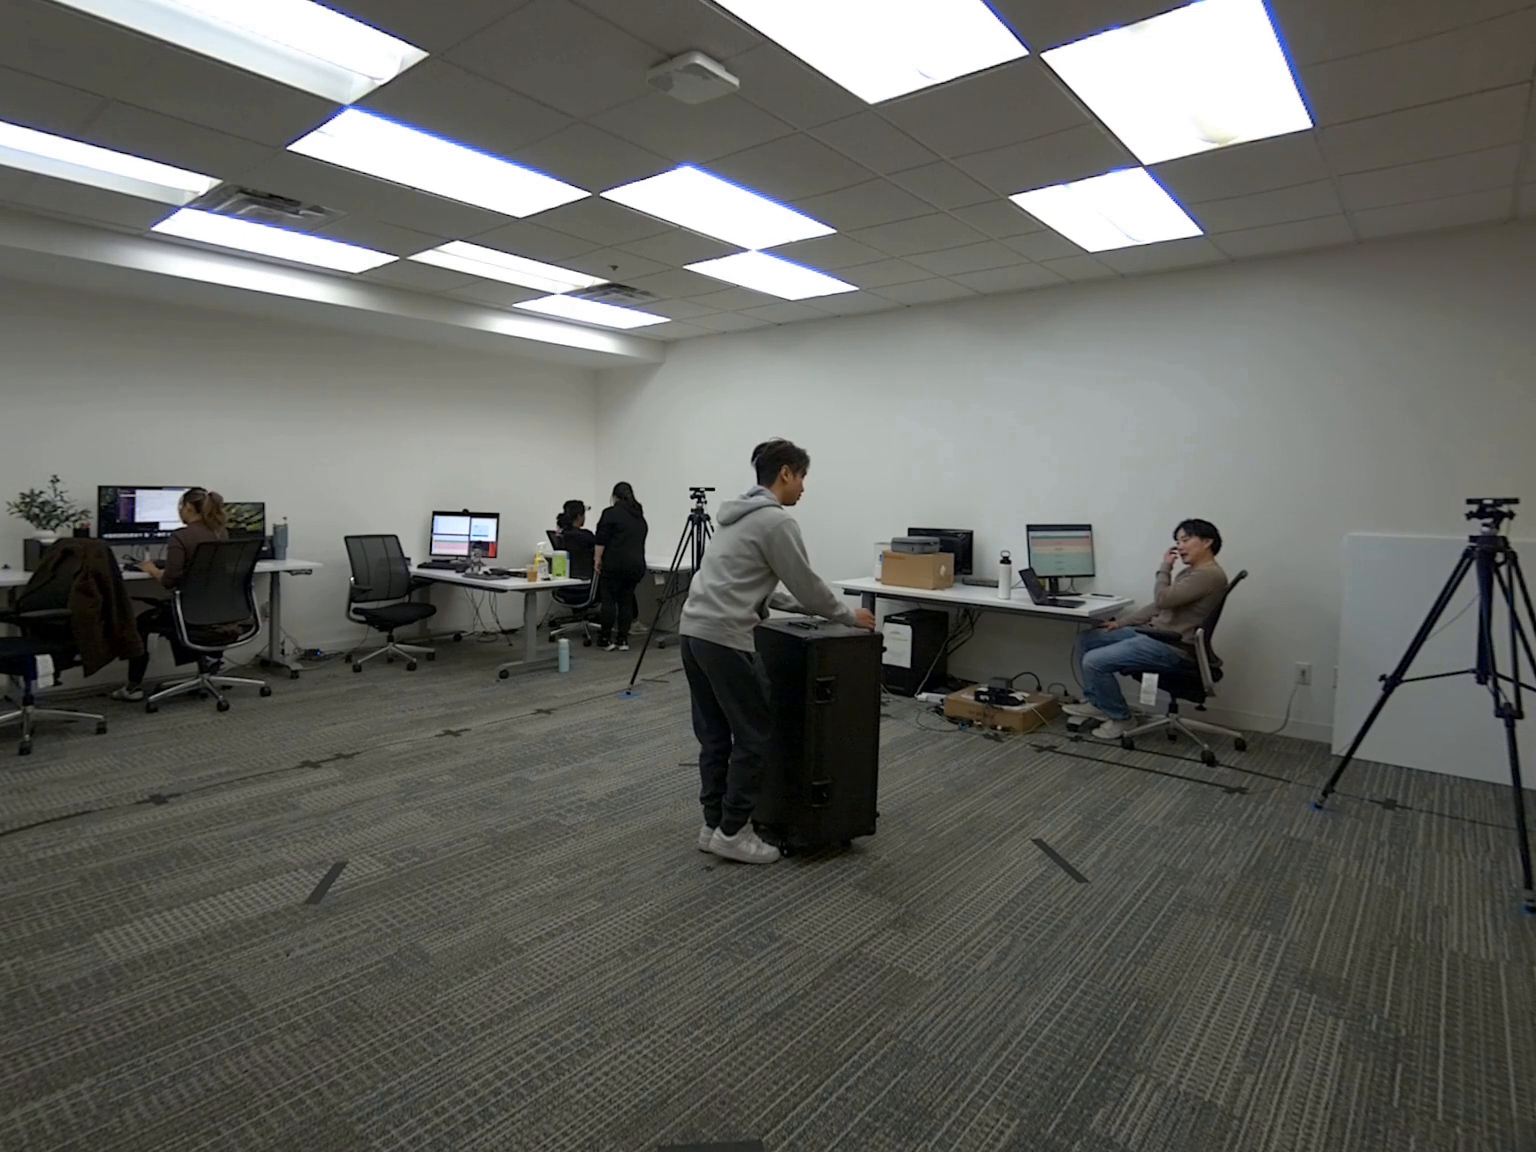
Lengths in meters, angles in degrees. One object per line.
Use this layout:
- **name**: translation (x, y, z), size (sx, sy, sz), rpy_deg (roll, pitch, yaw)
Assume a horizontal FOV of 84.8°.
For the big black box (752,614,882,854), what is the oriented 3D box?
- **big black box**: translation (0.155, 0.621, 3.403), size (0.385, 0.859, 0.537), rpy_deg (0, 4, -30)
